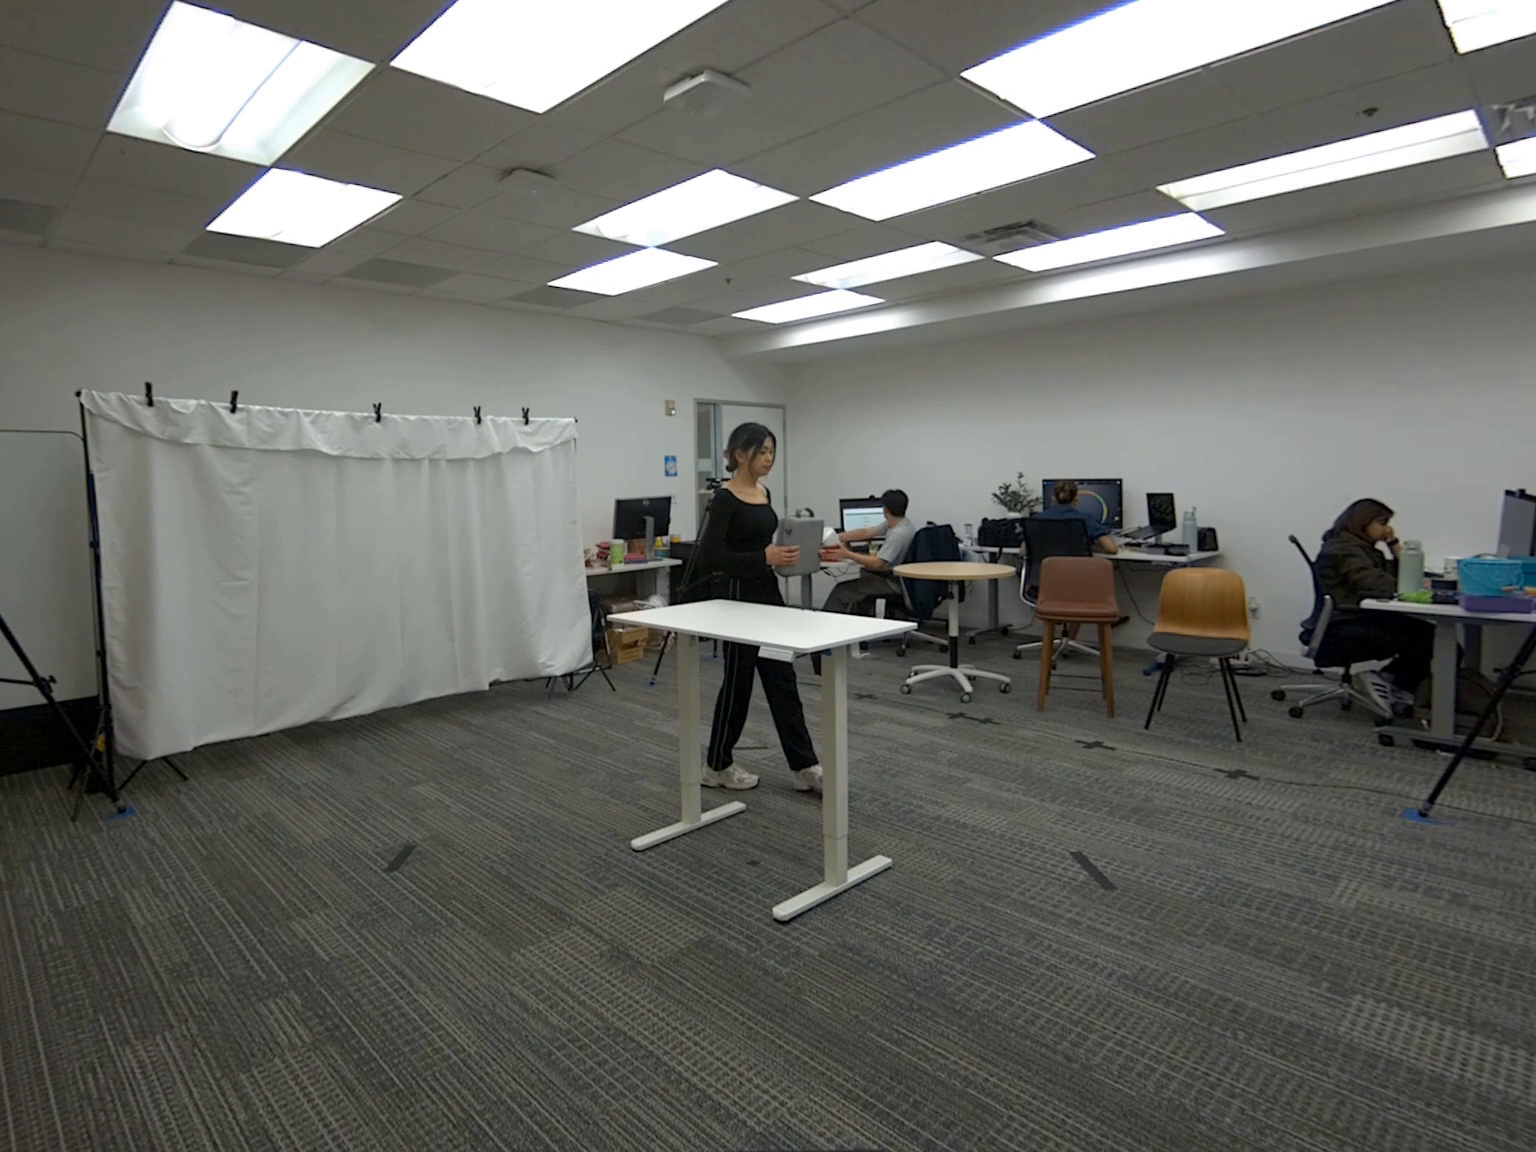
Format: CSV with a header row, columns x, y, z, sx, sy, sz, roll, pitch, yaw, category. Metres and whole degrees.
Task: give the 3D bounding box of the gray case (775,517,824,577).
x,y,z,sx,sy,sz,roll,pitch,yaw,category
0.125,-0.135,3.692,0.108,0.259,0.250,10,9,38,gray case
